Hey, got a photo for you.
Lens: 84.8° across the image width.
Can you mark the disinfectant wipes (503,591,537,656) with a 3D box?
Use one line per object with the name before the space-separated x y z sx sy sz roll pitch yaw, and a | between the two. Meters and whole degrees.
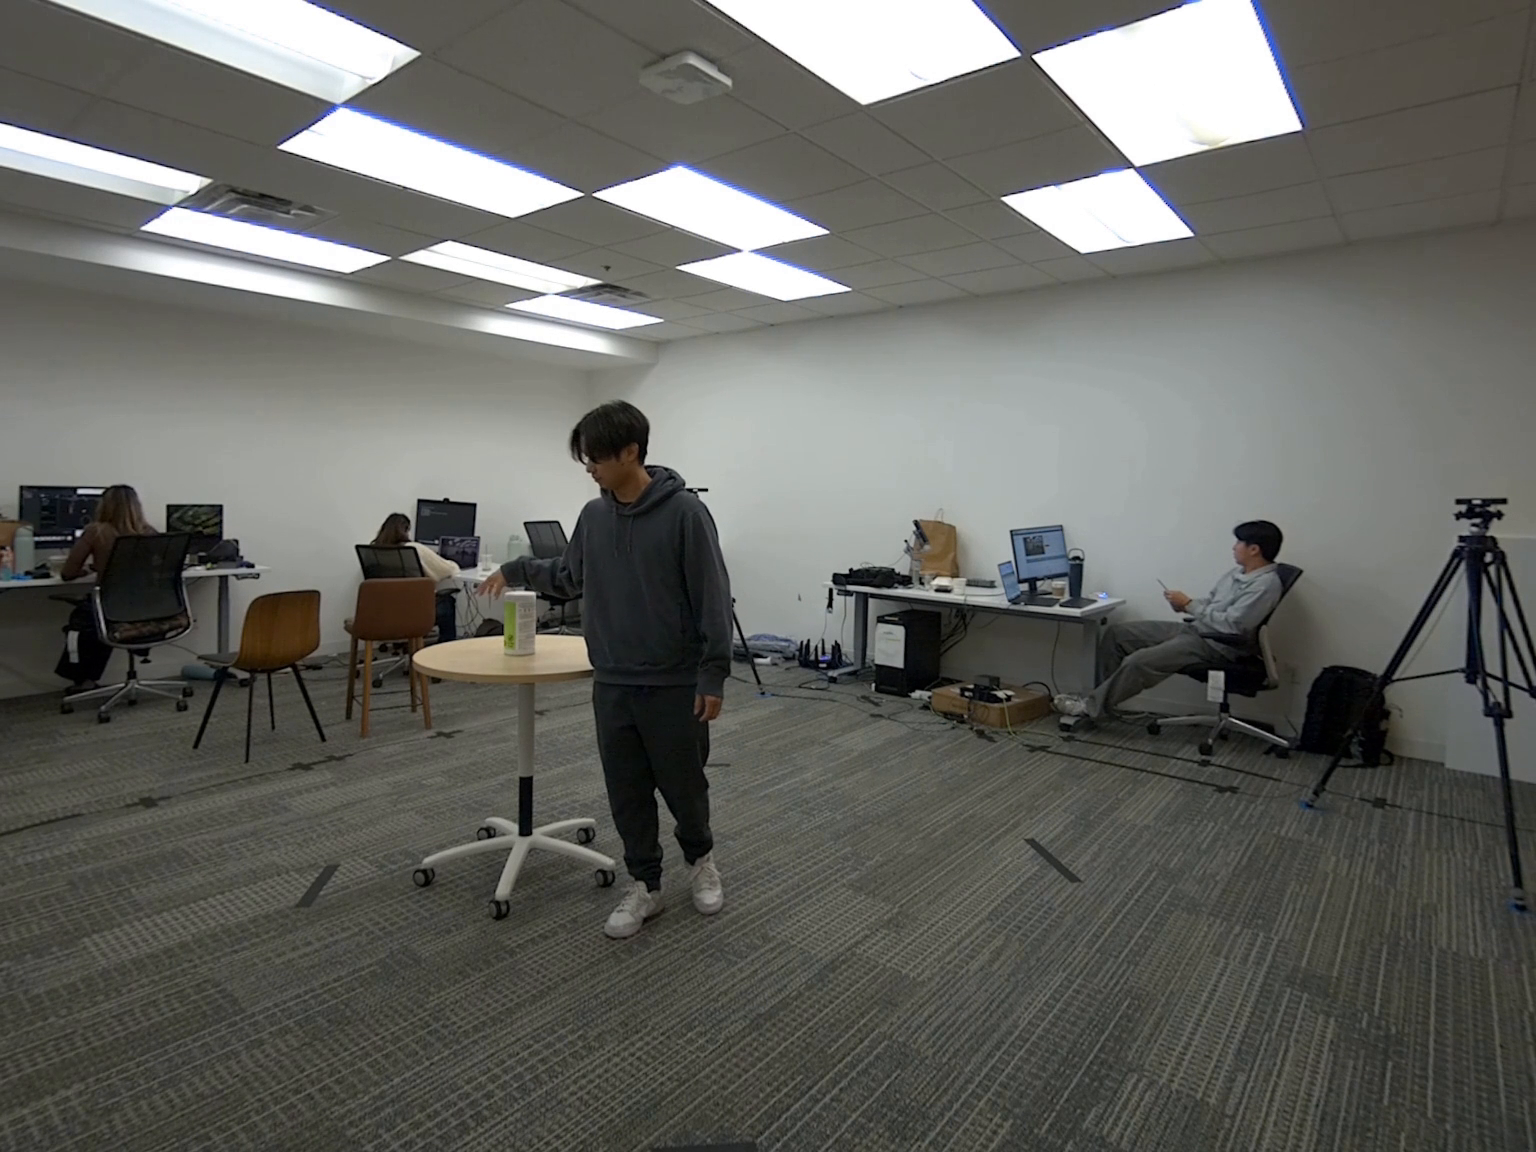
disinfectant wipes | -0.889 0.165 3.007 0.117 0.217 0.118 2 3 -2
